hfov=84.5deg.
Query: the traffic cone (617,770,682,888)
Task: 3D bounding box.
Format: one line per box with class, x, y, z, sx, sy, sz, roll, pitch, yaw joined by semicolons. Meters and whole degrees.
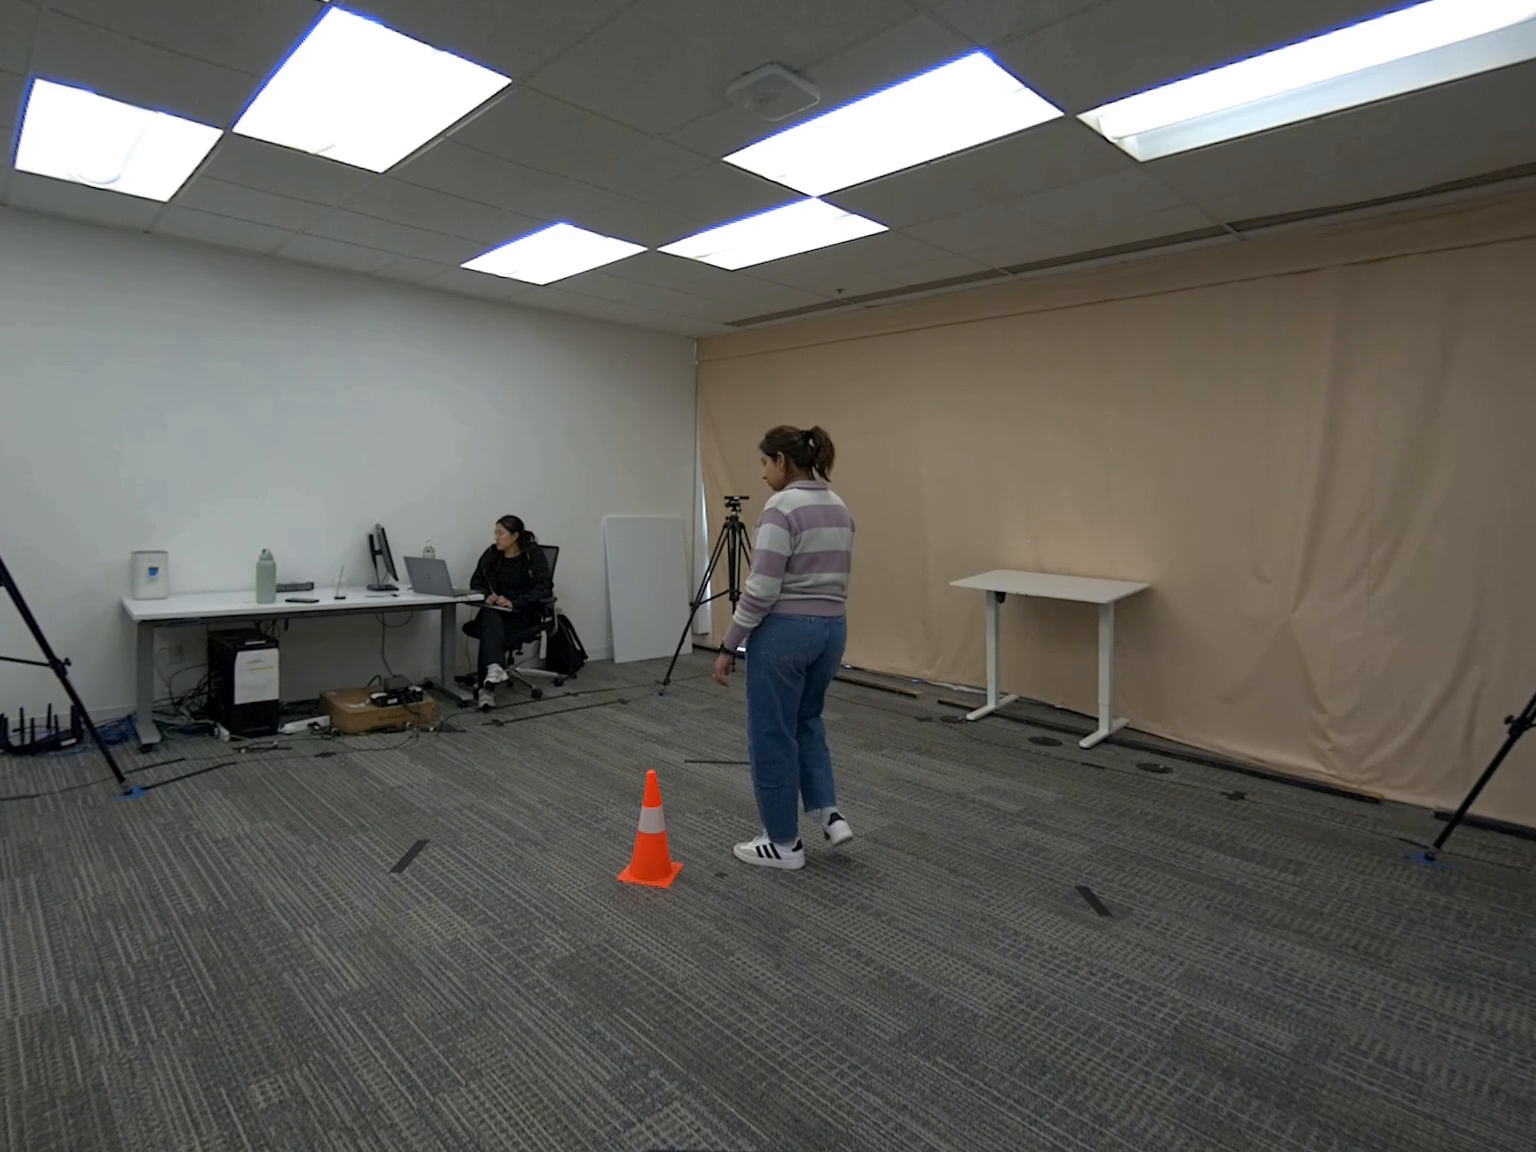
traffic cone;-0.428;0.909;3.106;0.206;0.383;0.203;5;4;13
